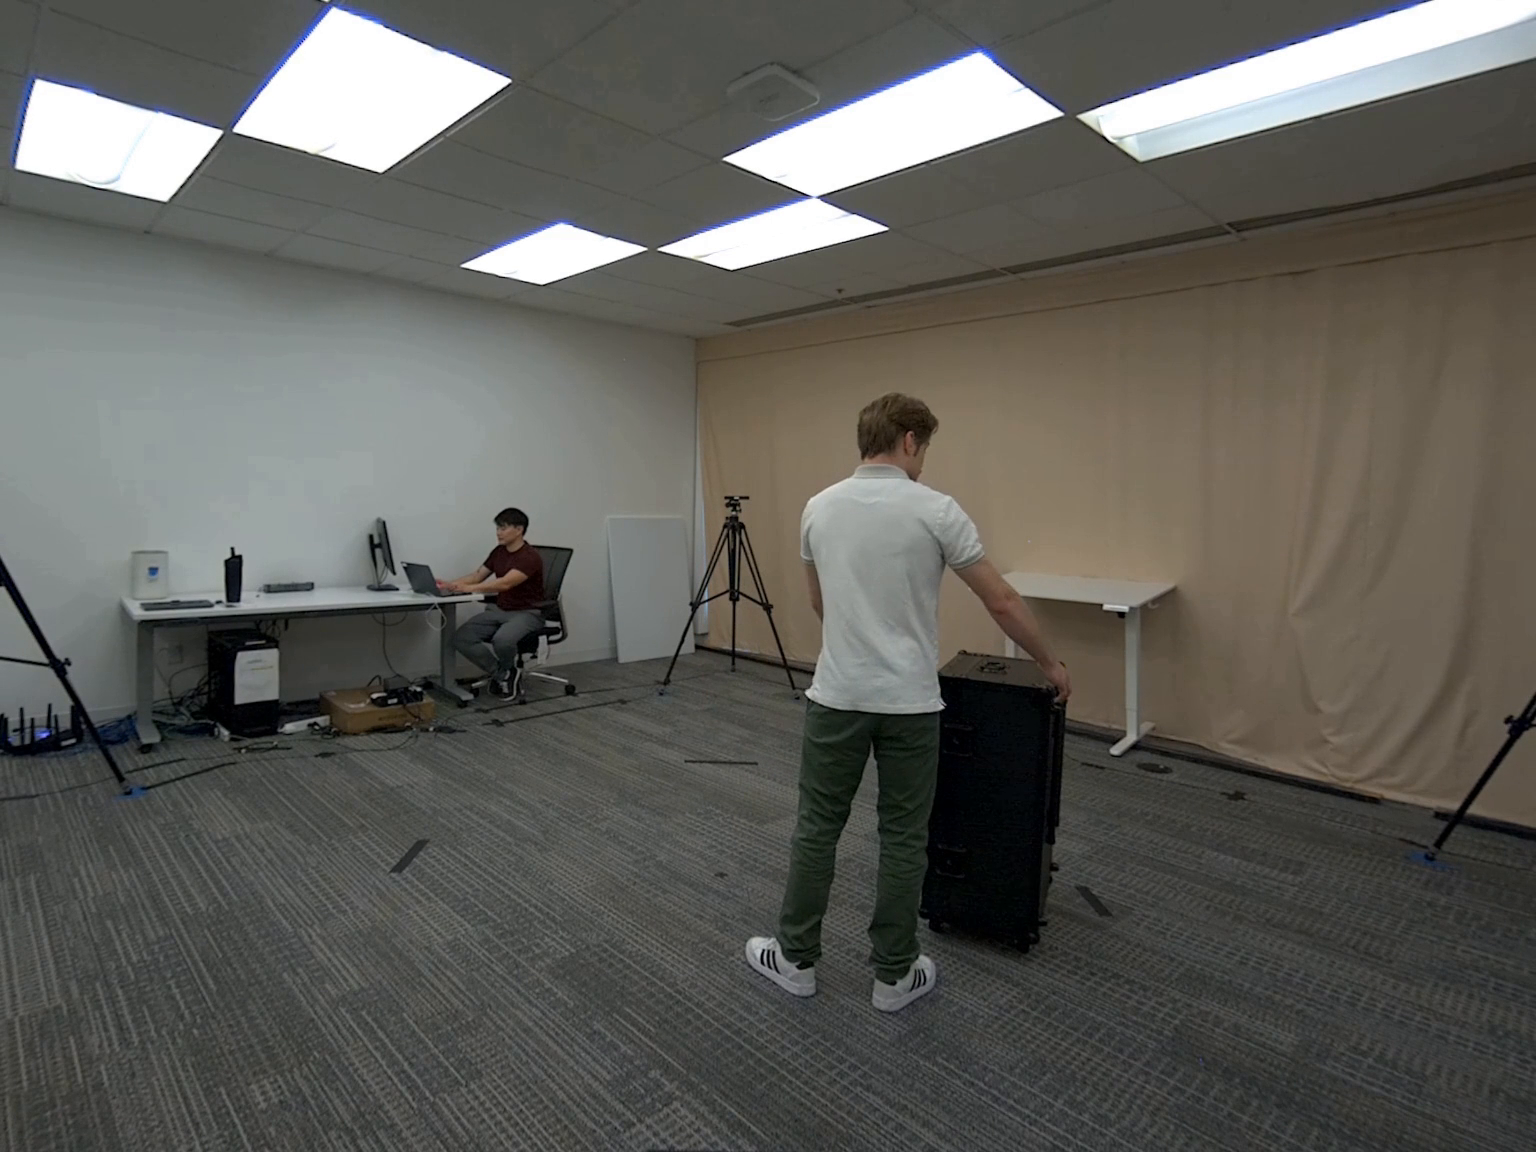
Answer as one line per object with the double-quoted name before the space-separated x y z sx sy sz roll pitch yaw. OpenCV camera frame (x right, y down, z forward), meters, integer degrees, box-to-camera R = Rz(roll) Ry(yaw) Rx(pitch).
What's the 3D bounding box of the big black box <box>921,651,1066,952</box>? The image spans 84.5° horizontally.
"big black box" 0.757 0.729 2.802 0.392 0.866 0.515 3 4 23
